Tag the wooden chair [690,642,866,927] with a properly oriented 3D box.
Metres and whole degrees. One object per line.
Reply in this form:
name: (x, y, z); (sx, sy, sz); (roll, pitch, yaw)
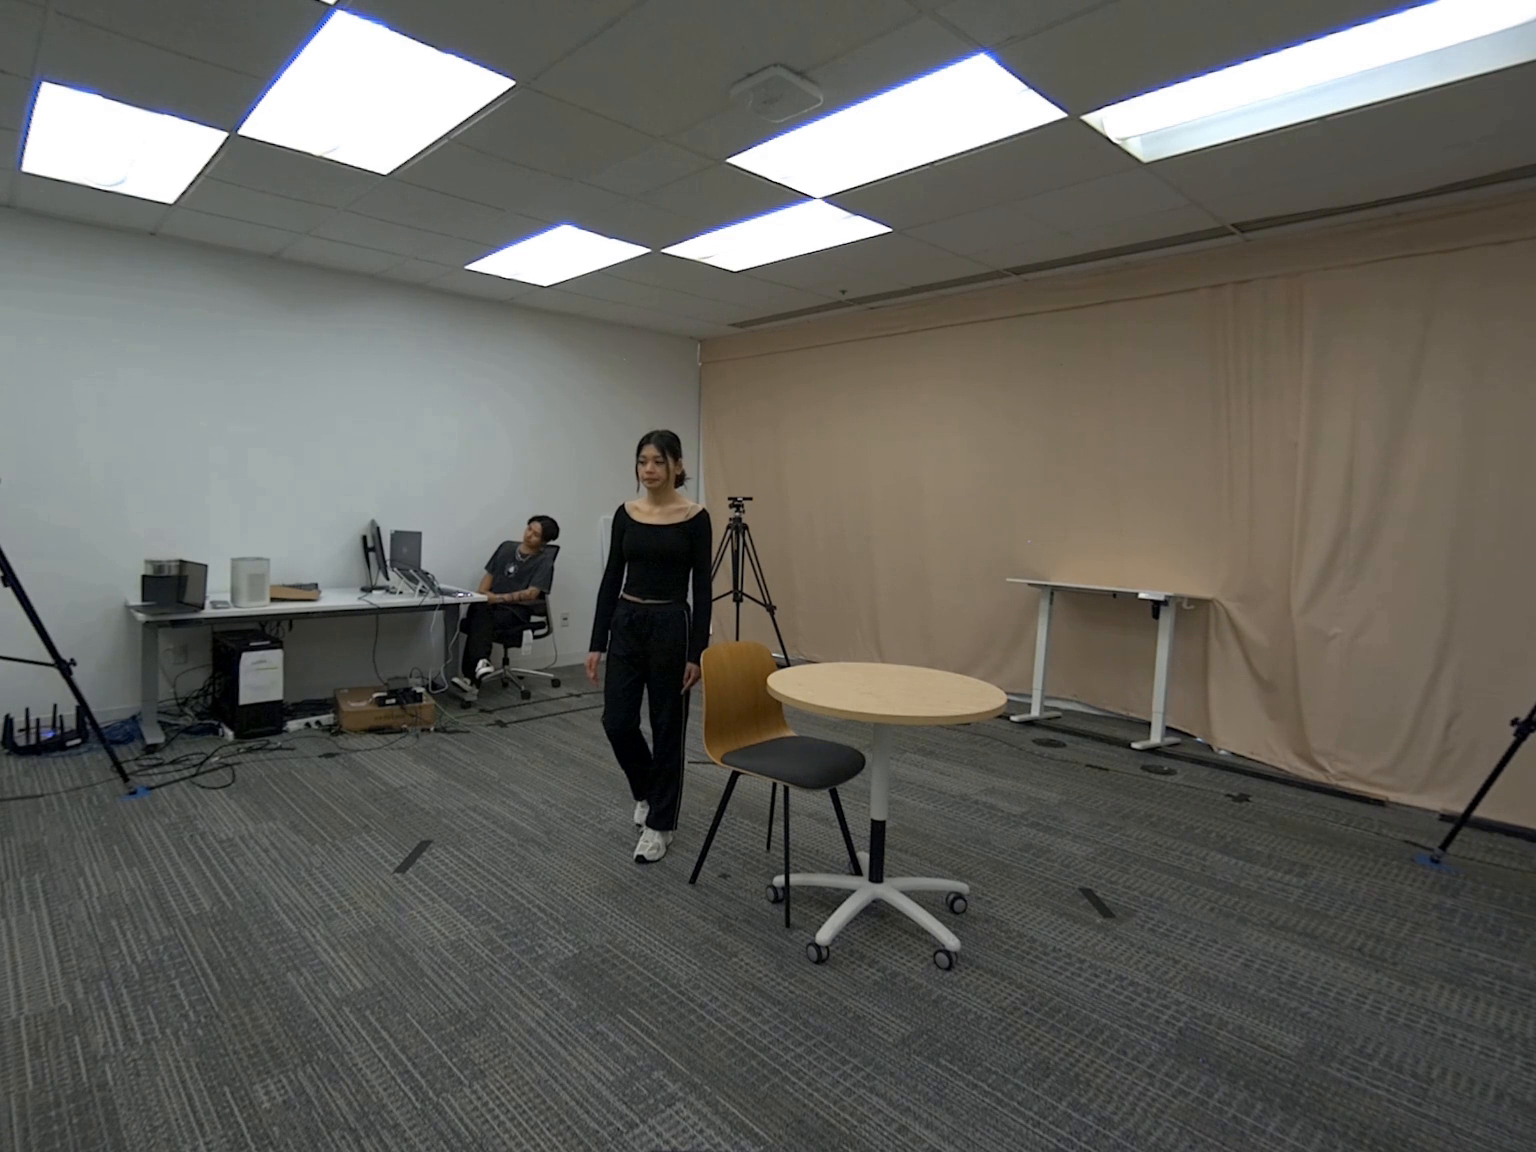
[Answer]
wooden chair: (0.043, 0.692, 3.009); (0.535, 0.878, 0.467); (-2, 0, 42)
